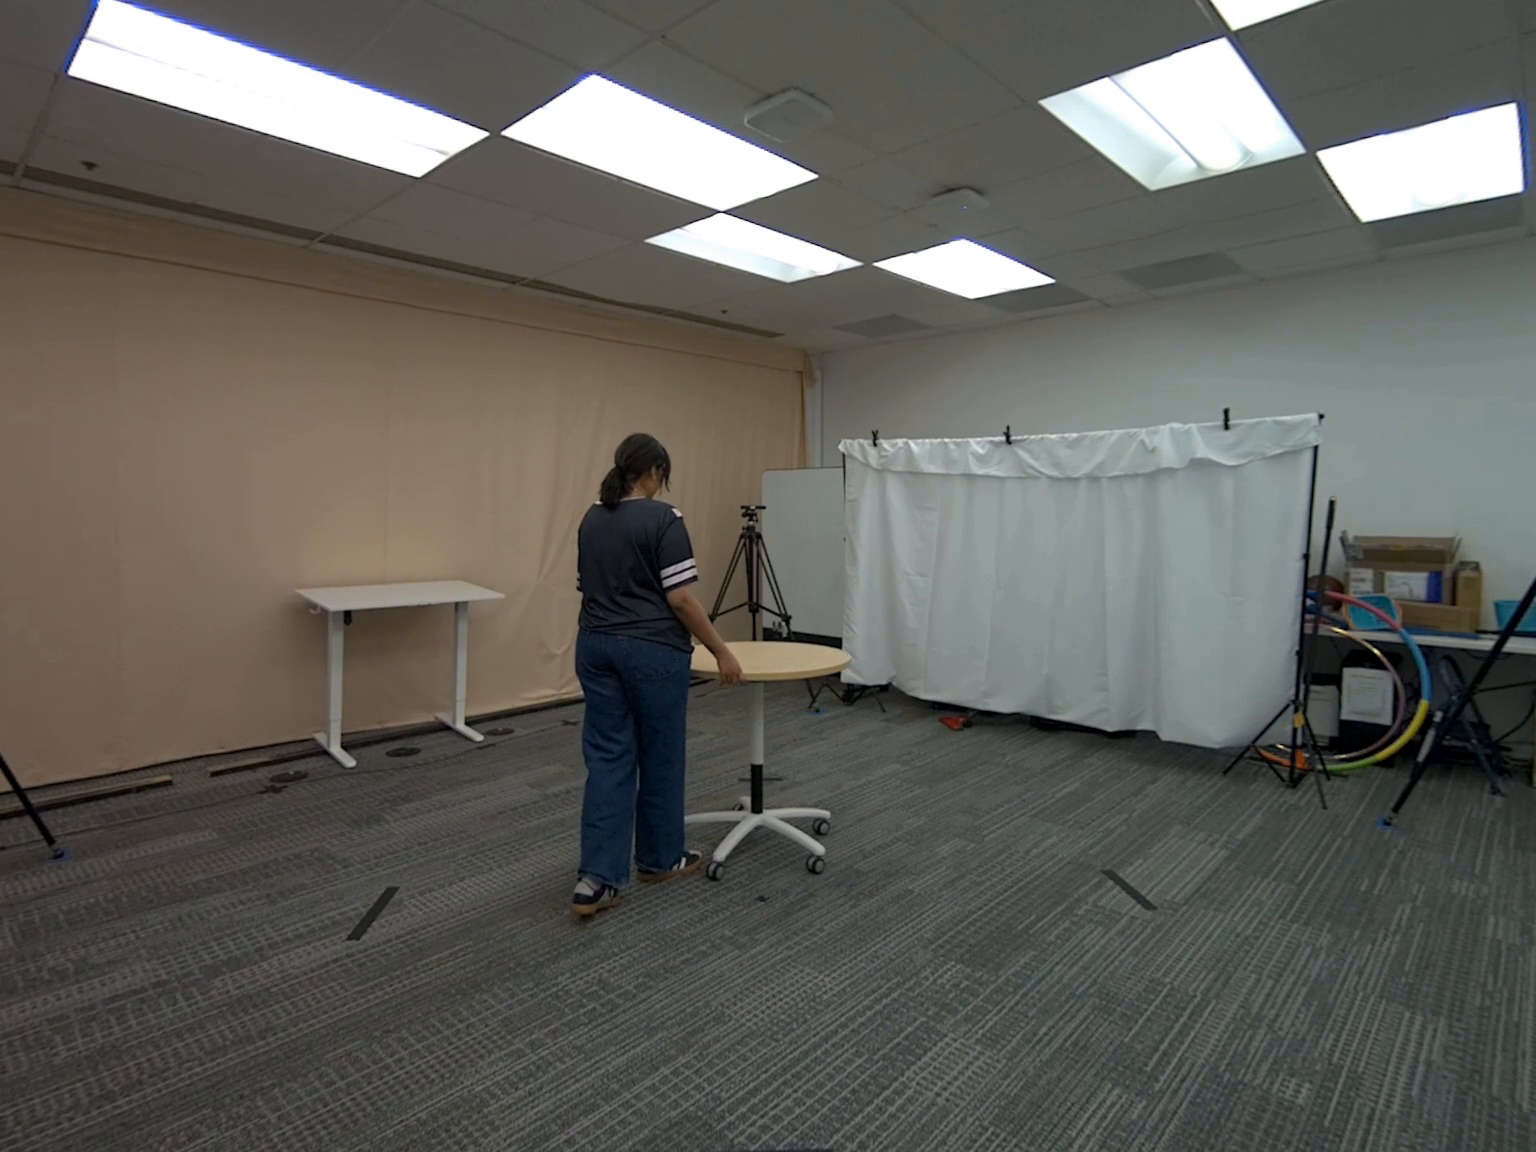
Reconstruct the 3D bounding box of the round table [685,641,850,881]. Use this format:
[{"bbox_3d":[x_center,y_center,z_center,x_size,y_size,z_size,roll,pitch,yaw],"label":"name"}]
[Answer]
[{"bbox_3d":[-0.041,0.716,3.426,0.763,0.792,0.766,0,3,-2],"label":"round table"}]
